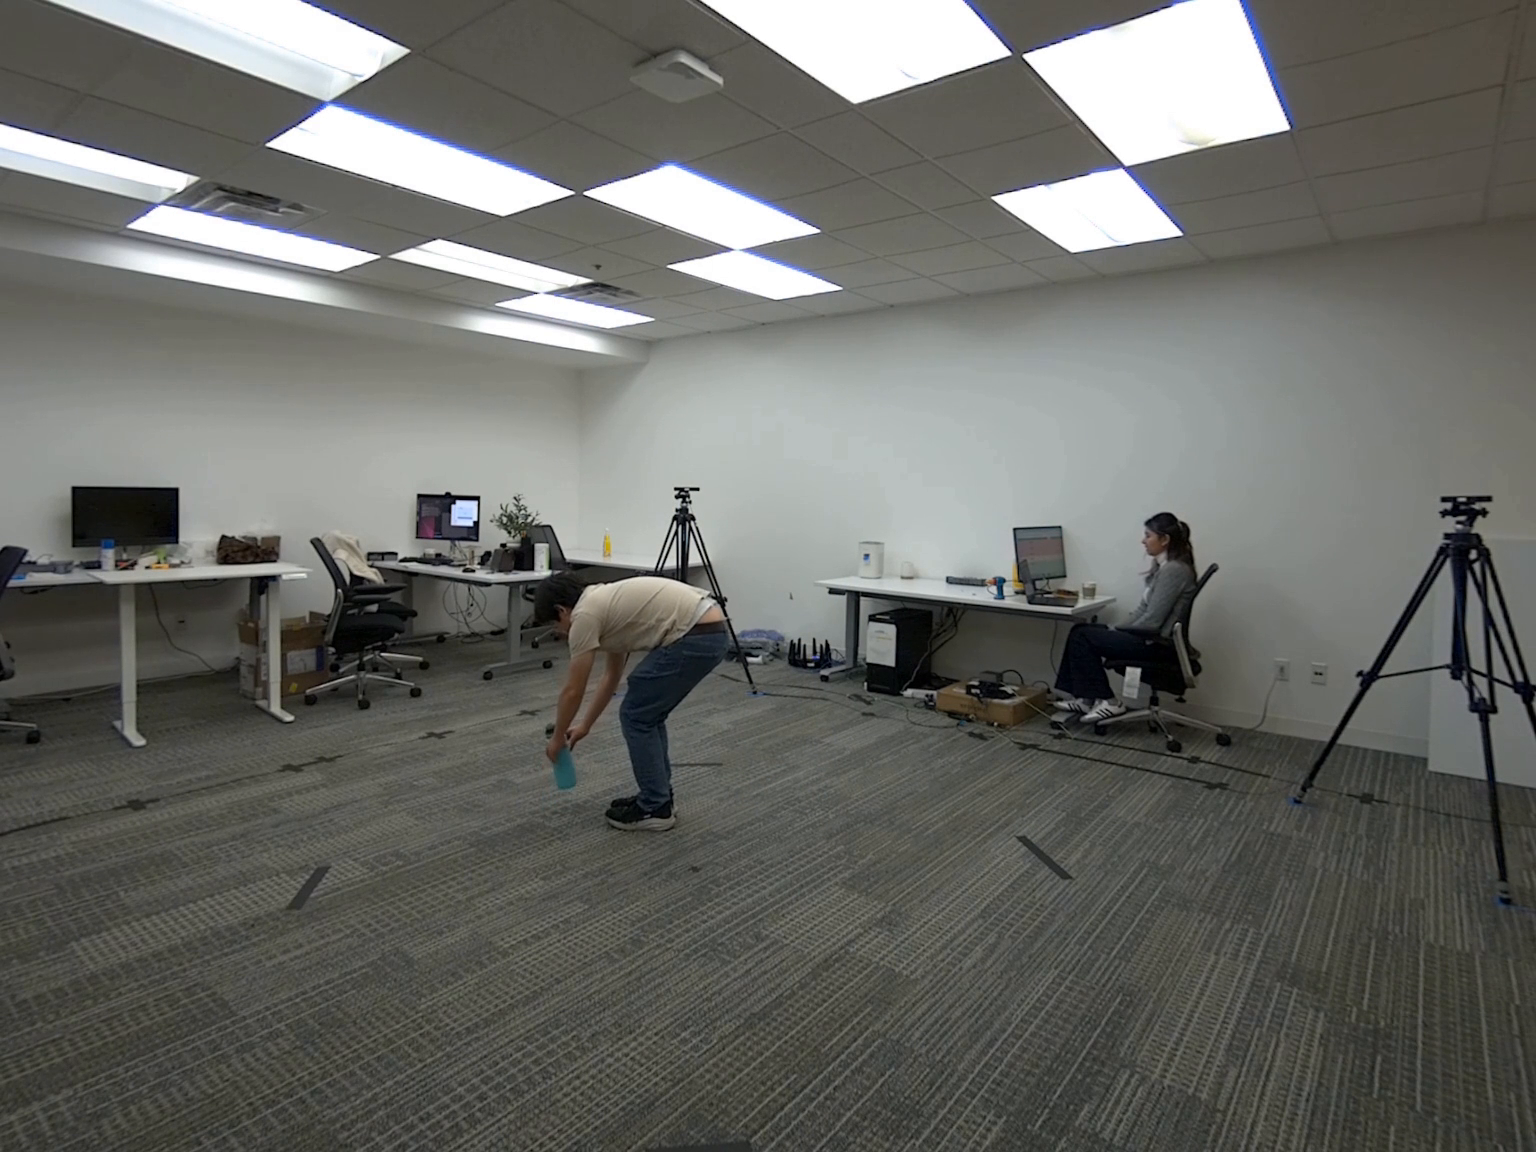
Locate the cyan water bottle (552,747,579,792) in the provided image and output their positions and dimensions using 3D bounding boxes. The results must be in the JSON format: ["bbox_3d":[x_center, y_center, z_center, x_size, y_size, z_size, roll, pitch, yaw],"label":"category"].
[{"bbox_3d":[-0.905,0.768,3.667,0.092,0.282,0.093,-13,4,-1],"label":"cyan water bottle"}]
